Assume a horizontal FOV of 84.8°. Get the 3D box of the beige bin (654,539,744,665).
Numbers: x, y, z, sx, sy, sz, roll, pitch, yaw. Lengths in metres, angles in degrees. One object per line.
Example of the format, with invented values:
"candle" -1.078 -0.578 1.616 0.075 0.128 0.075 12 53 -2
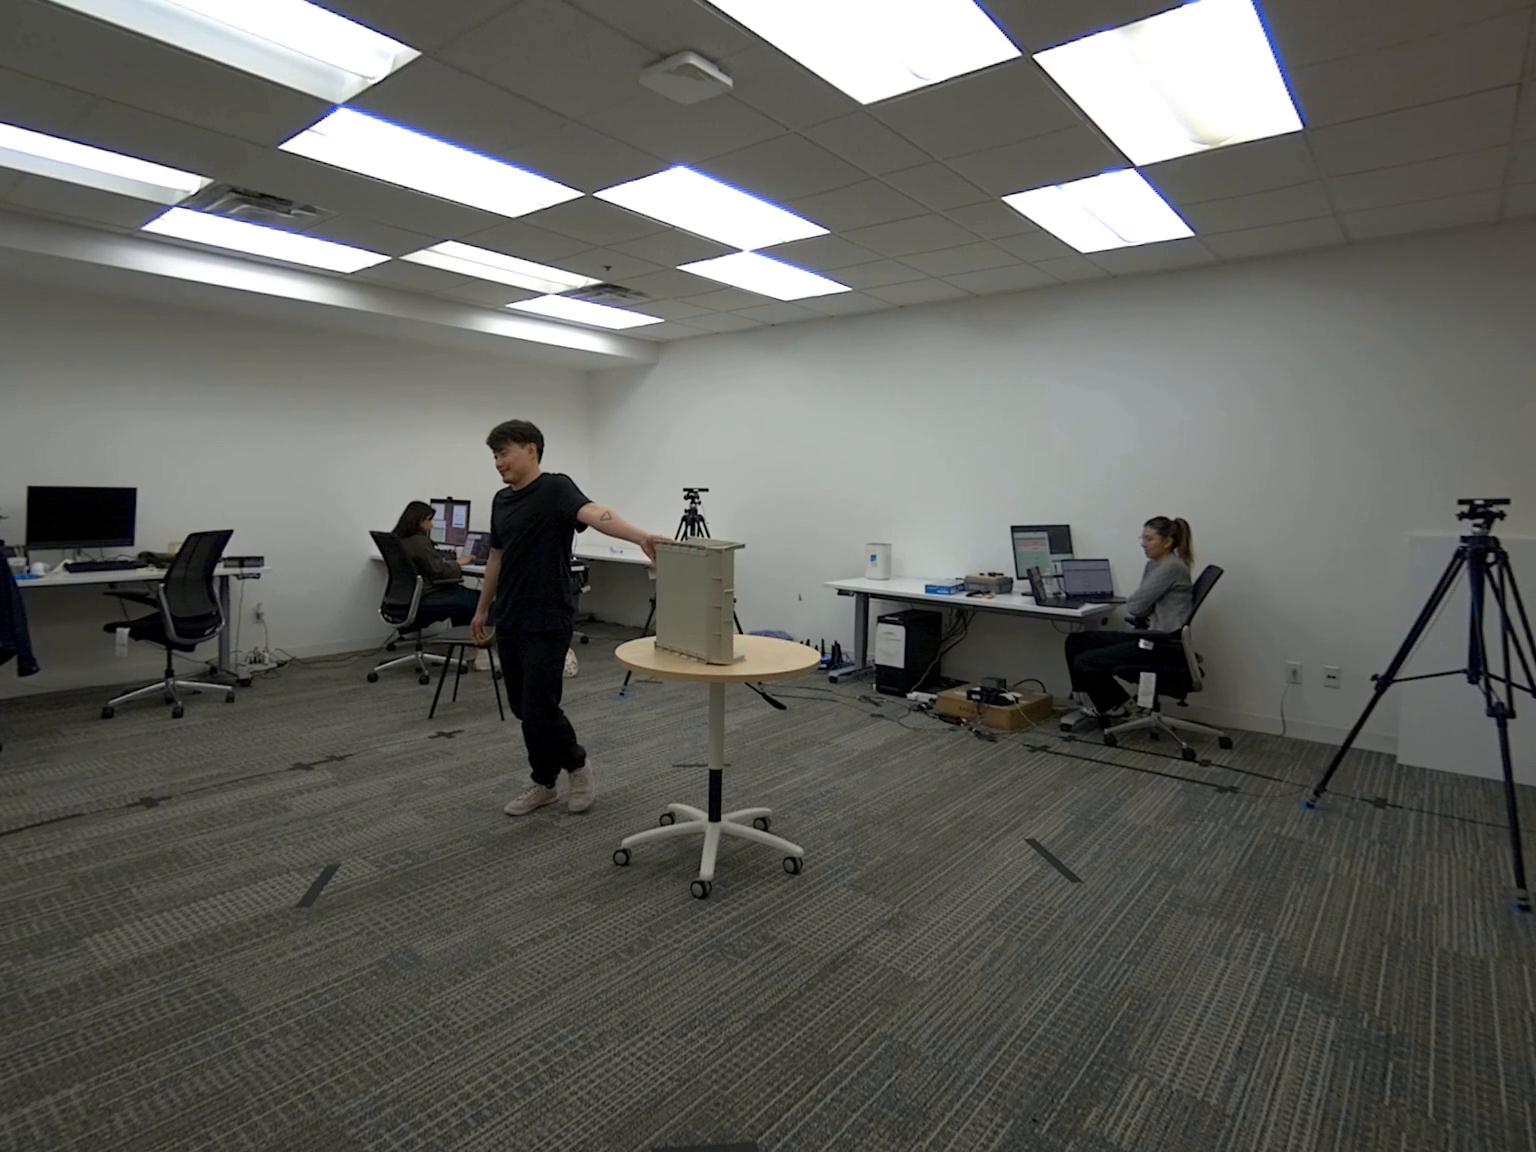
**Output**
"beige bin" -0.248 0.080 3.097 0.183 0.420 0.391 -5 9 -41
